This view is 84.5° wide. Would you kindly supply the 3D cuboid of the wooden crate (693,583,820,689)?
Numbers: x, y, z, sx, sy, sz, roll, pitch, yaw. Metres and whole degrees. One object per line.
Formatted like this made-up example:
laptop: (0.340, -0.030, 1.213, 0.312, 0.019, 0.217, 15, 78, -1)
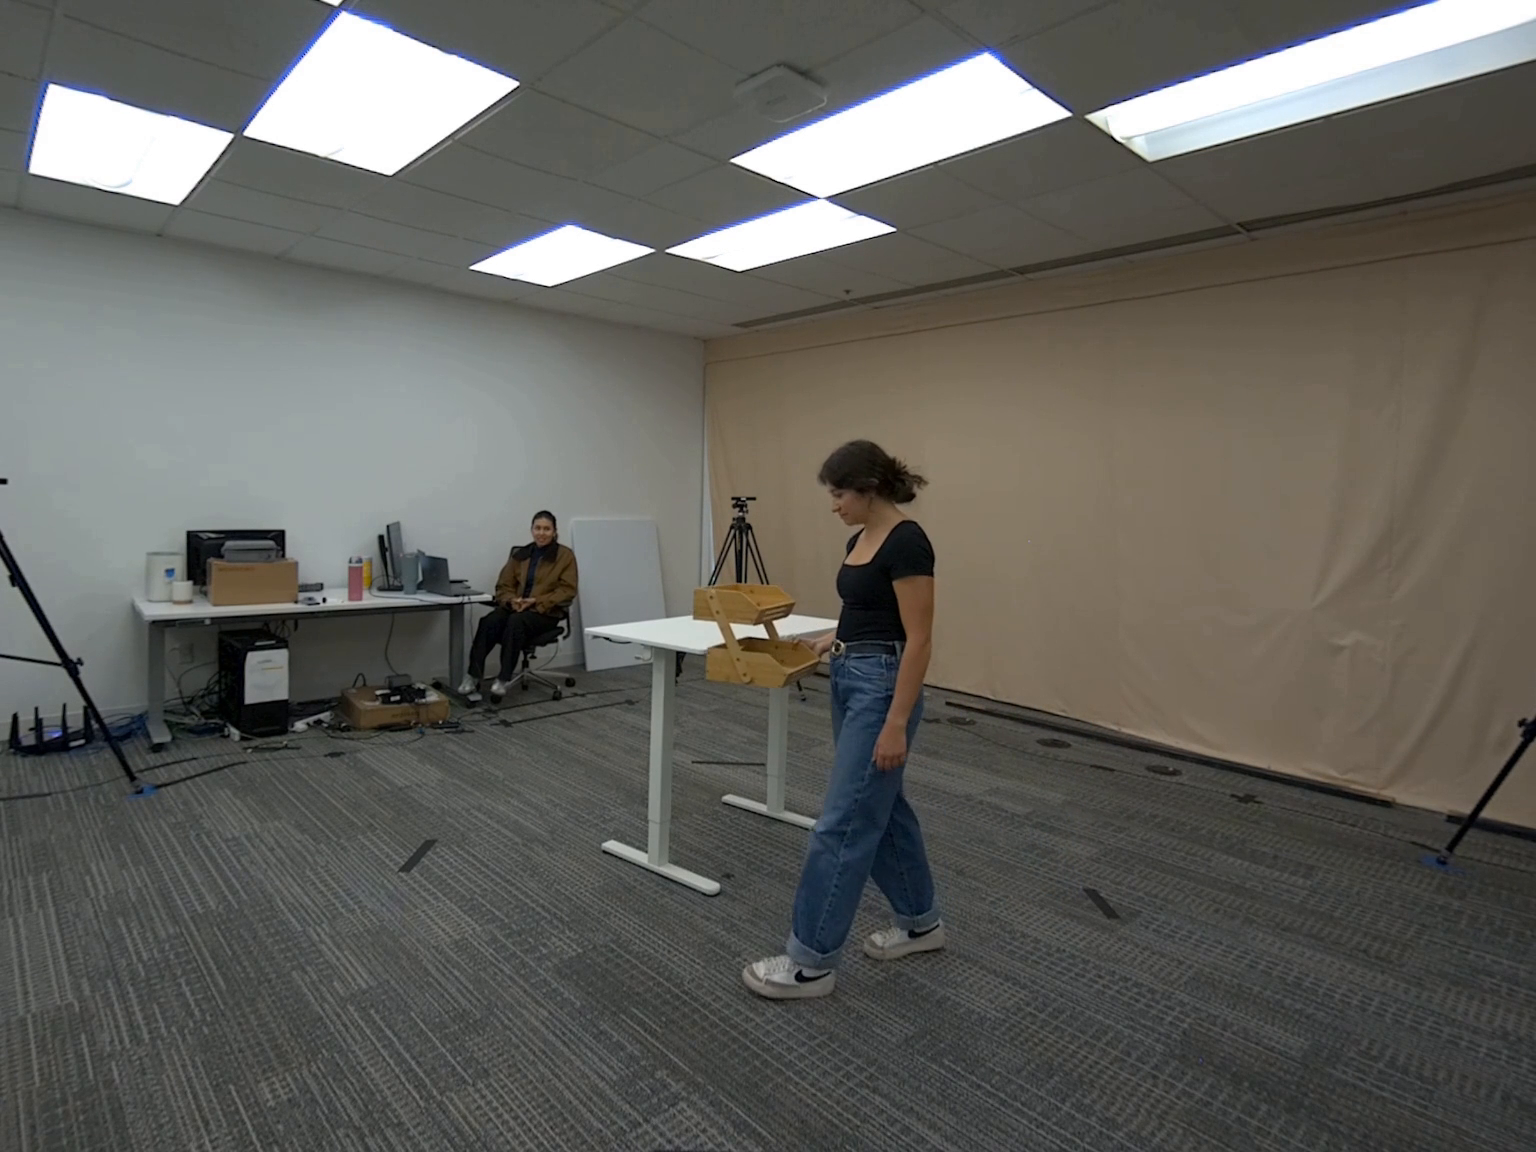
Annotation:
wooden crate: (-0.024, 0.170, 2.512, 0.308, 0.273, 0.319, 6, 4, 24)
